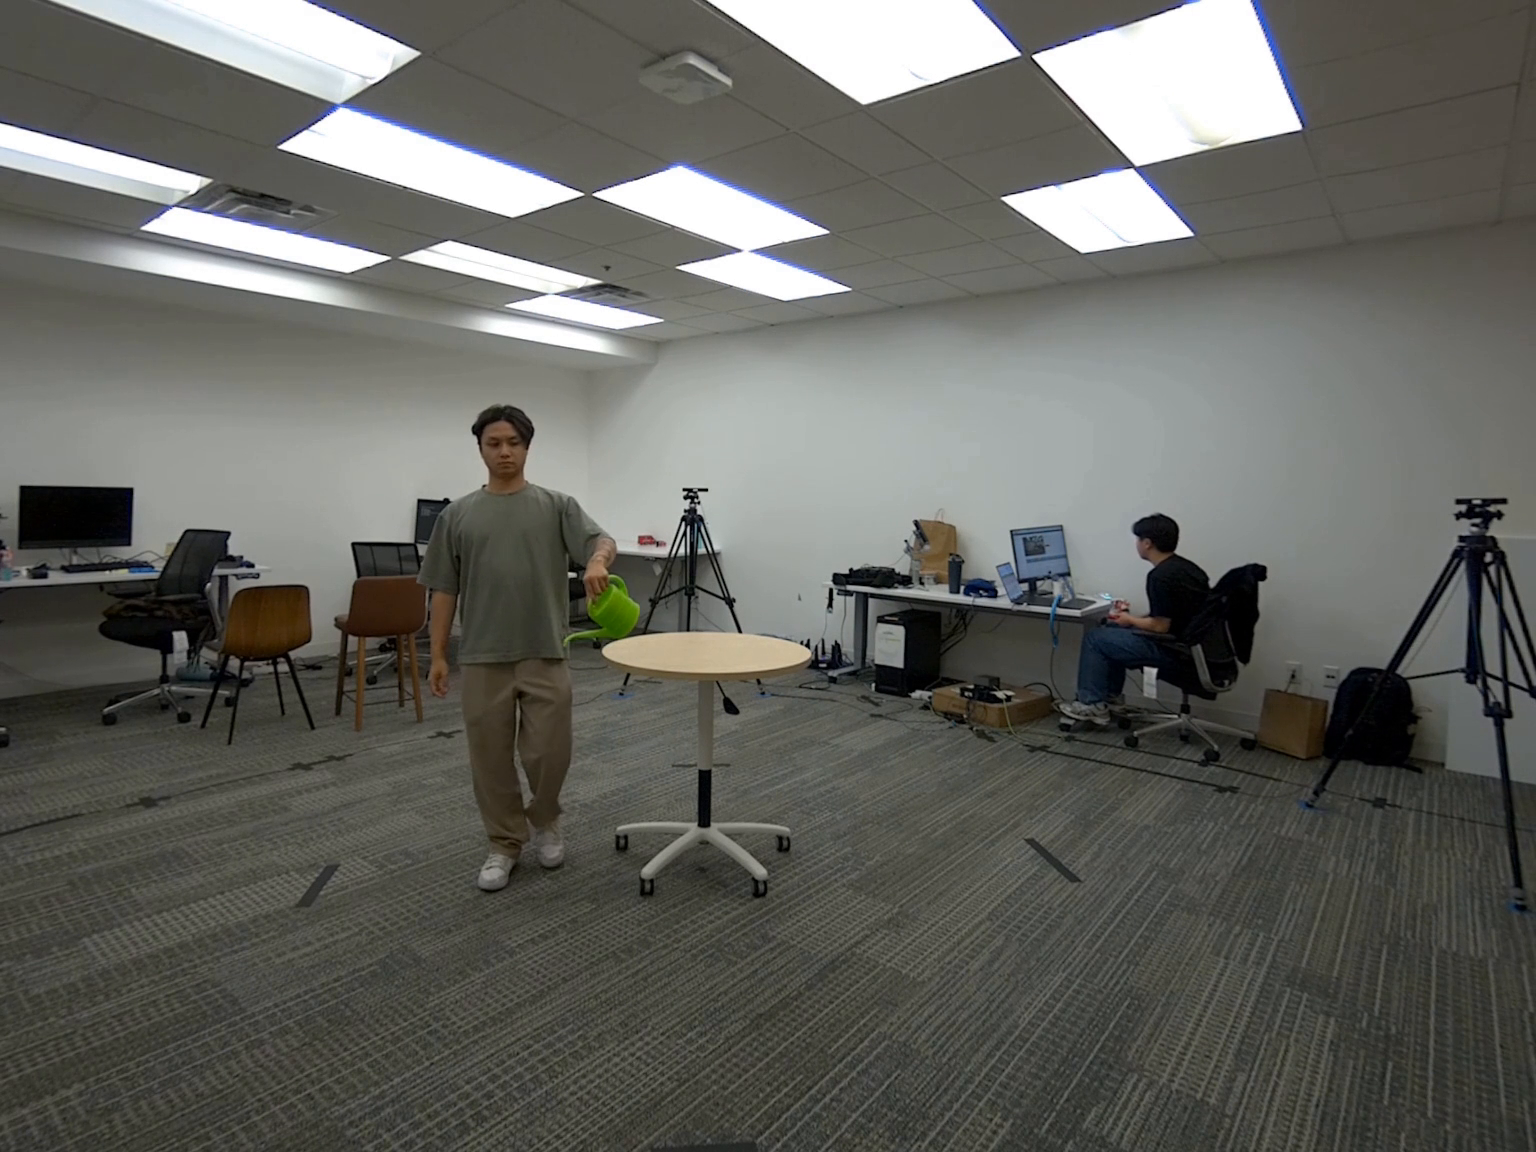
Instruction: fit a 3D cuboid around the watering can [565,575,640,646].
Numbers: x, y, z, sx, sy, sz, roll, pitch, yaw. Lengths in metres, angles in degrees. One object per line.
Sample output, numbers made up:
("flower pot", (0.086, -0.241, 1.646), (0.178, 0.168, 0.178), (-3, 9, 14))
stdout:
("watering can", (-0.538, 0.137, 2.724), (0.102, 0.279, 0.170), (19, -22, 52))
